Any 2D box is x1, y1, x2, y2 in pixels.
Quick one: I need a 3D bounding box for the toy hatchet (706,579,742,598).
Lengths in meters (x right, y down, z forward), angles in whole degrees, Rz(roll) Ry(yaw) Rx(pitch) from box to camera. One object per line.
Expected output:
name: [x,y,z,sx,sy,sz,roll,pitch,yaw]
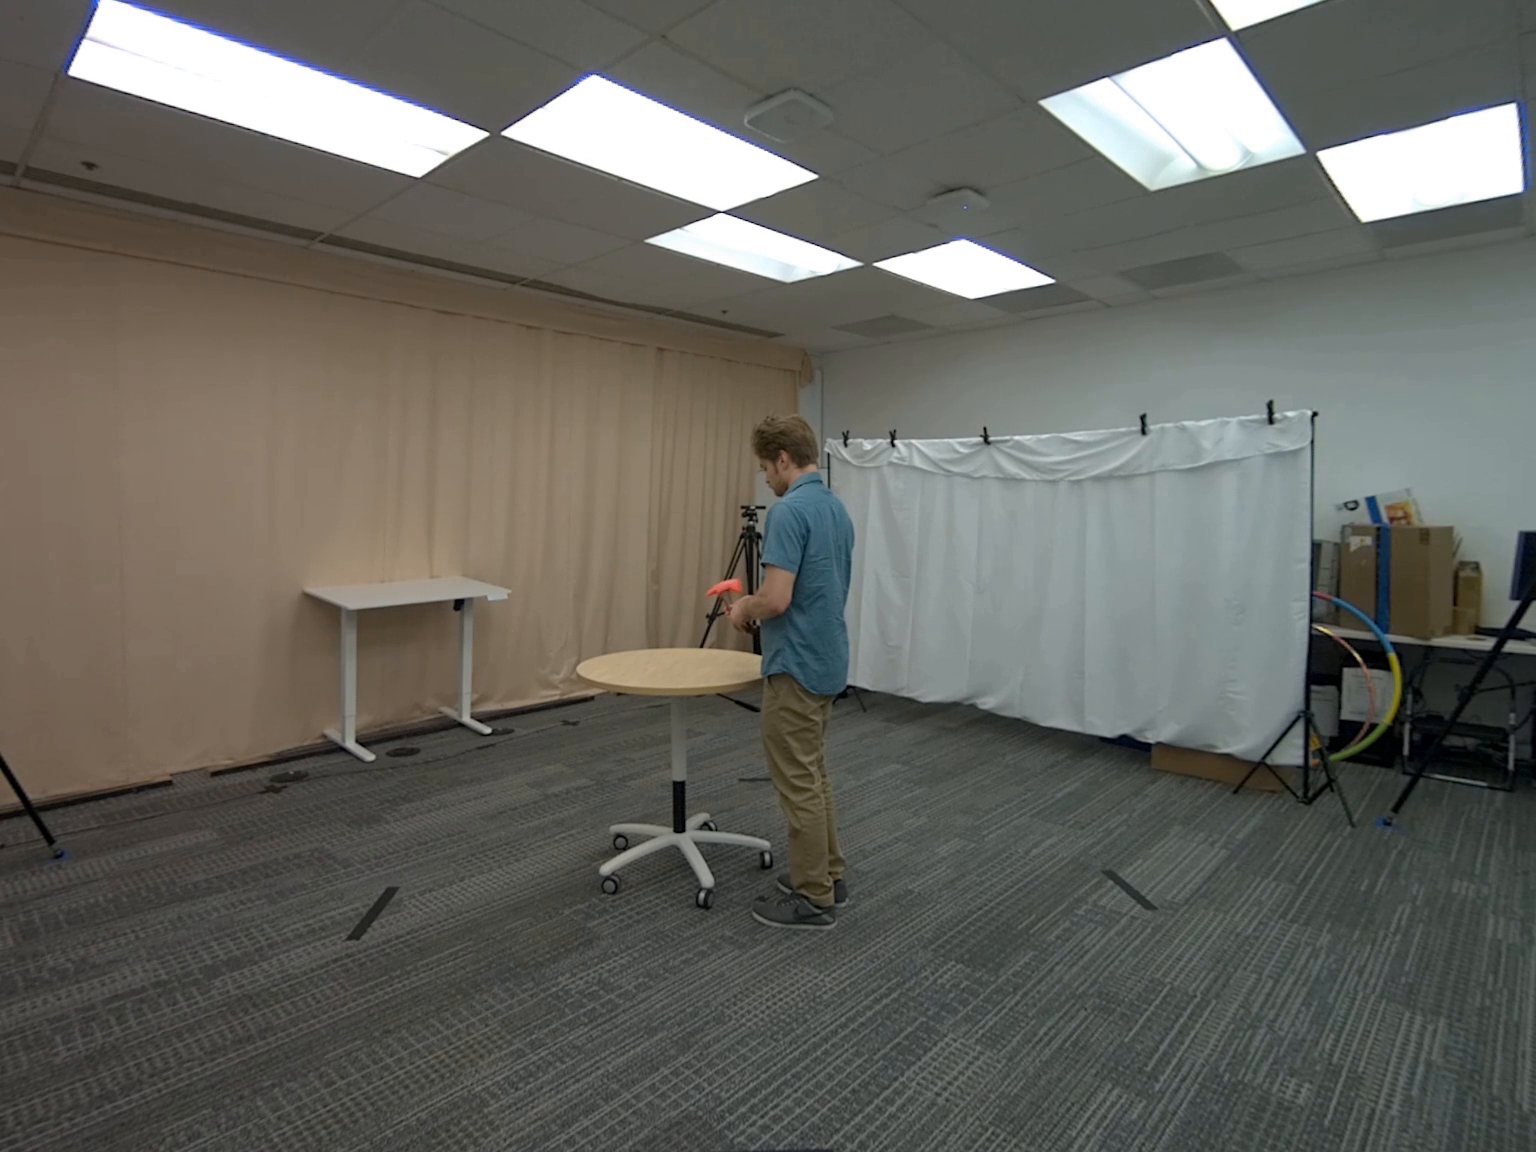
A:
toy hatchet: [-0.082,0.101,3.029,0.130,0.029,0.280,-38,51,-17]
